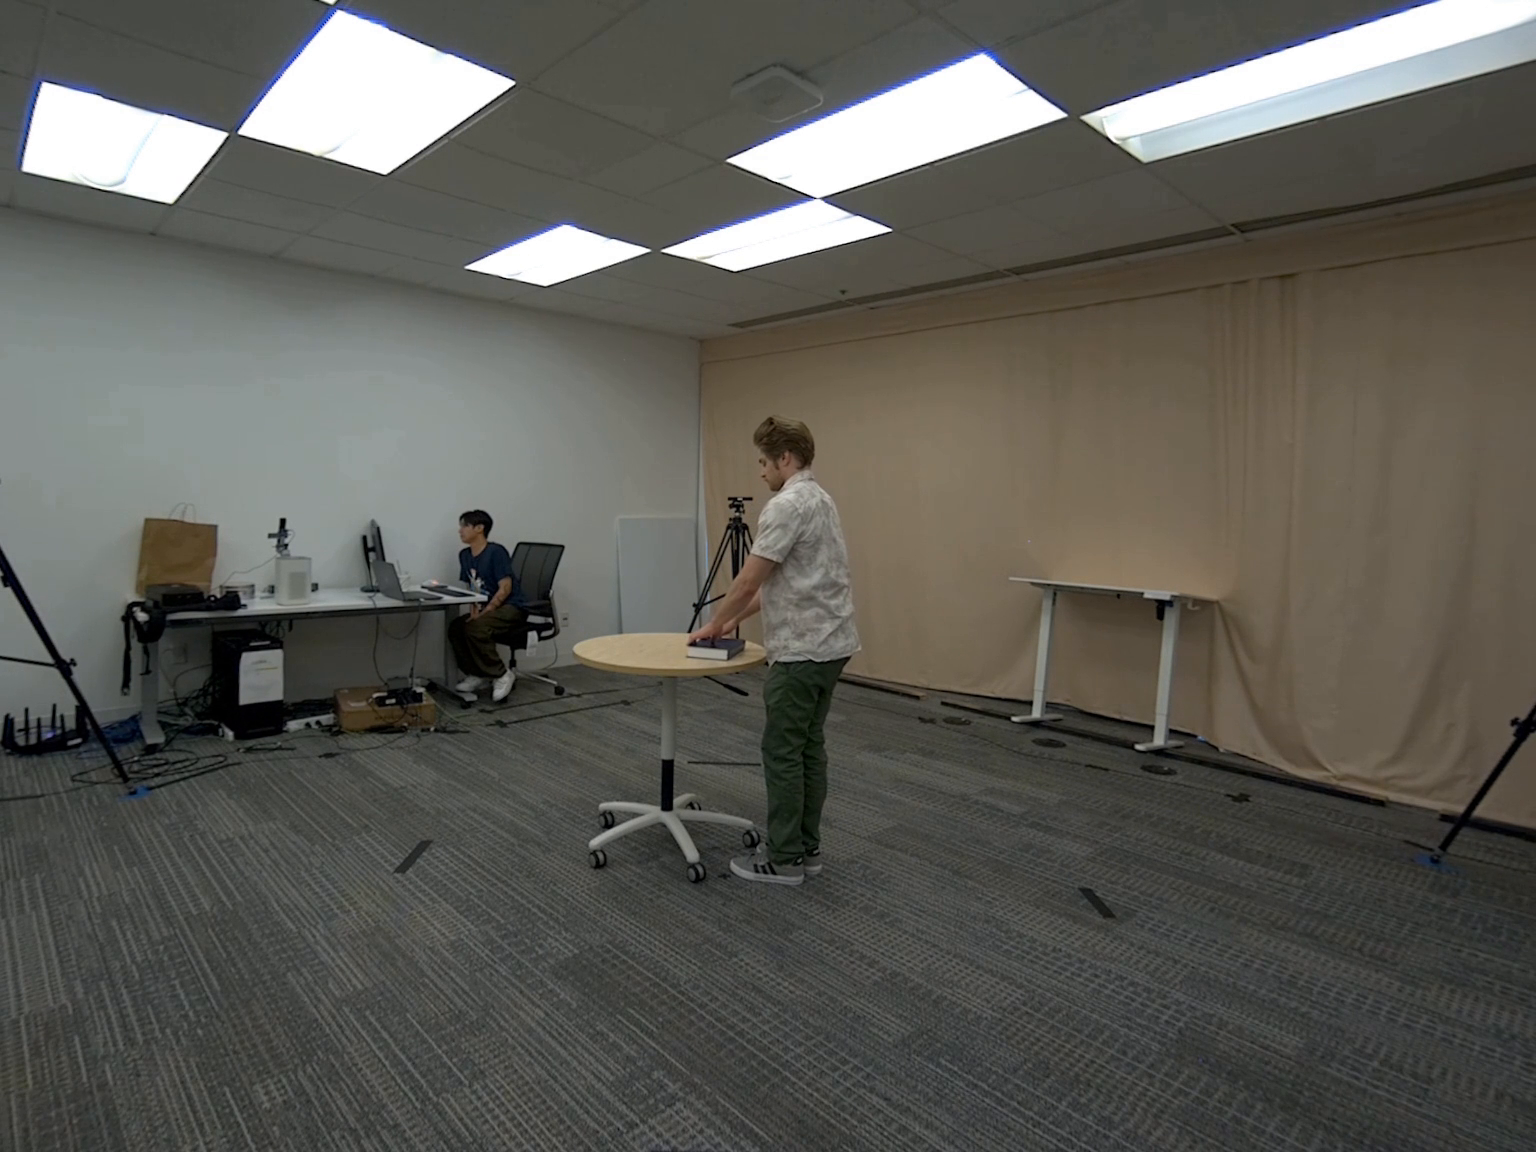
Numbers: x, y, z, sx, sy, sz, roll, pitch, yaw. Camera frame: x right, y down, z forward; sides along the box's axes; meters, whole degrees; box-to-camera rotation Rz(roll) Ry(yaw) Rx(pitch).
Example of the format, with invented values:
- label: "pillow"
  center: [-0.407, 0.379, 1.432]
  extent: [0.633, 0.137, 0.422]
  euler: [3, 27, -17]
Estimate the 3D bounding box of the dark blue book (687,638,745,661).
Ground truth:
- label: "dark blue book"
  center: [-0.201, 0.282, 3.274]
  extent: [0.165, 0.045, 0.243]
  euler: [3, 7, 13]
